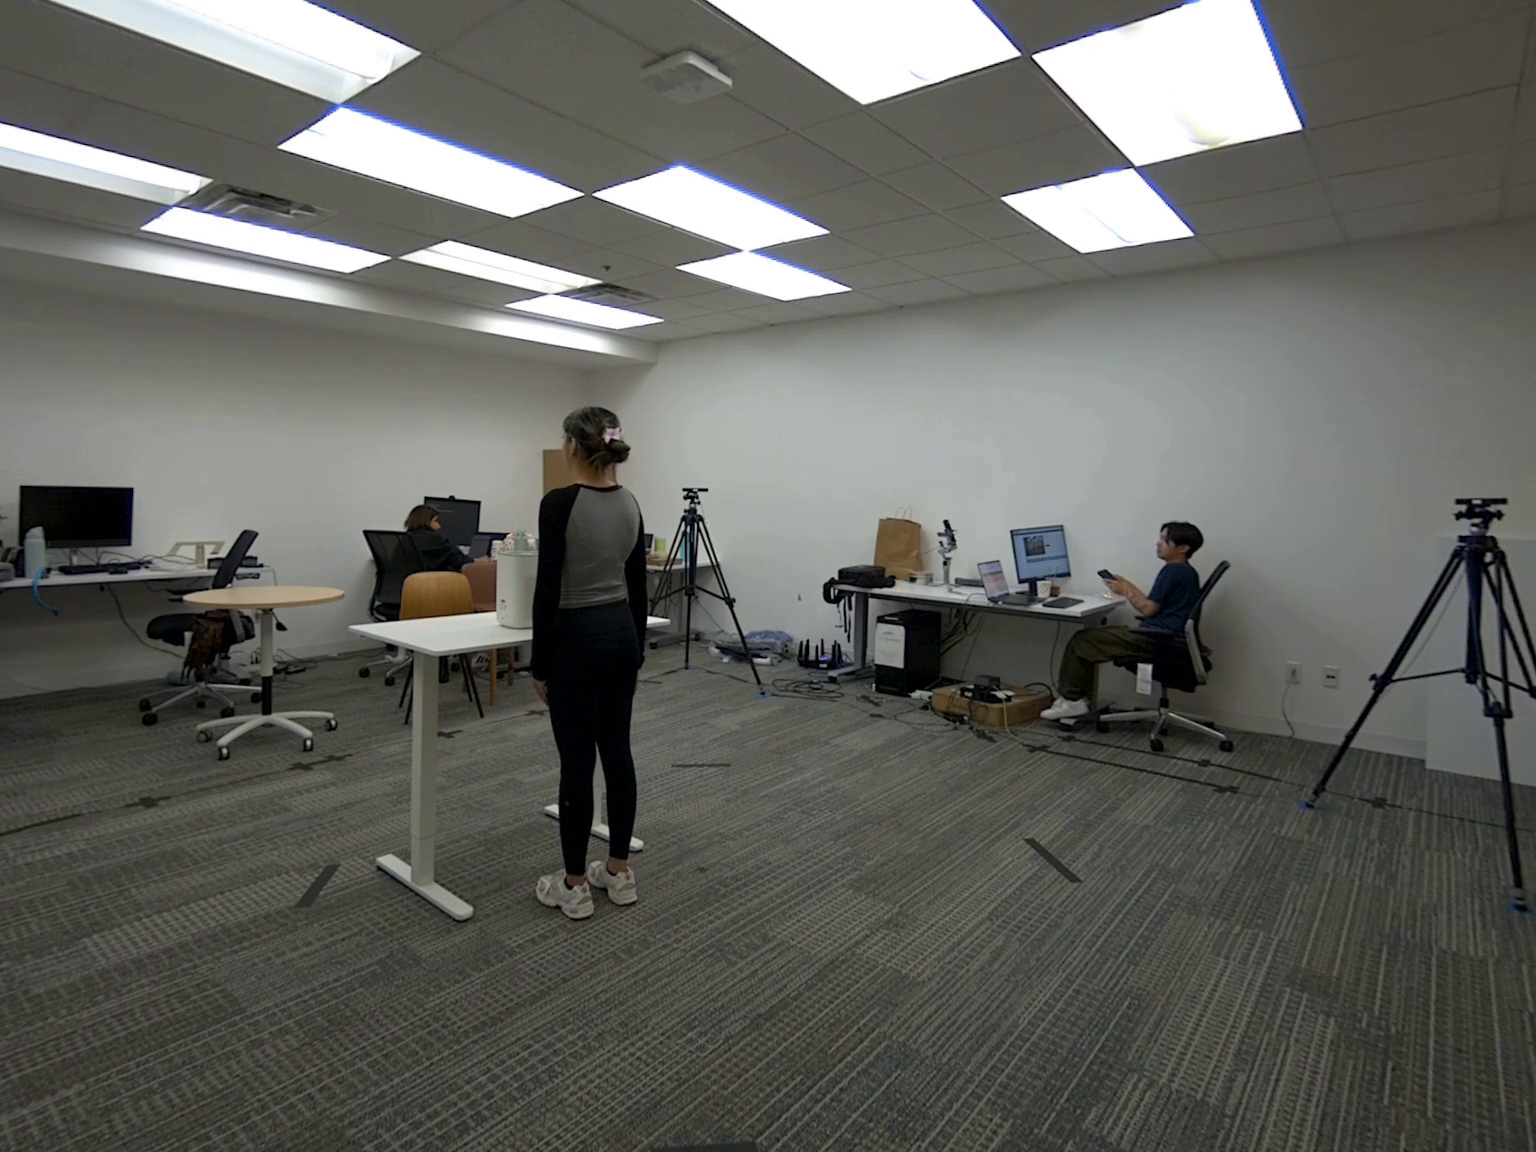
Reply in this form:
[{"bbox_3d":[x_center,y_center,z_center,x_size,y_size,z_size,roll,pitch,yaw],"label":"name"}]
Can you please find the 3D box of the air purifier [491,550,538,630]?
[{"bbox_3d":[-0.888,0.044,3.079,0.177,0.265,0.166,6,4,43],"label":"air purifier"}]
